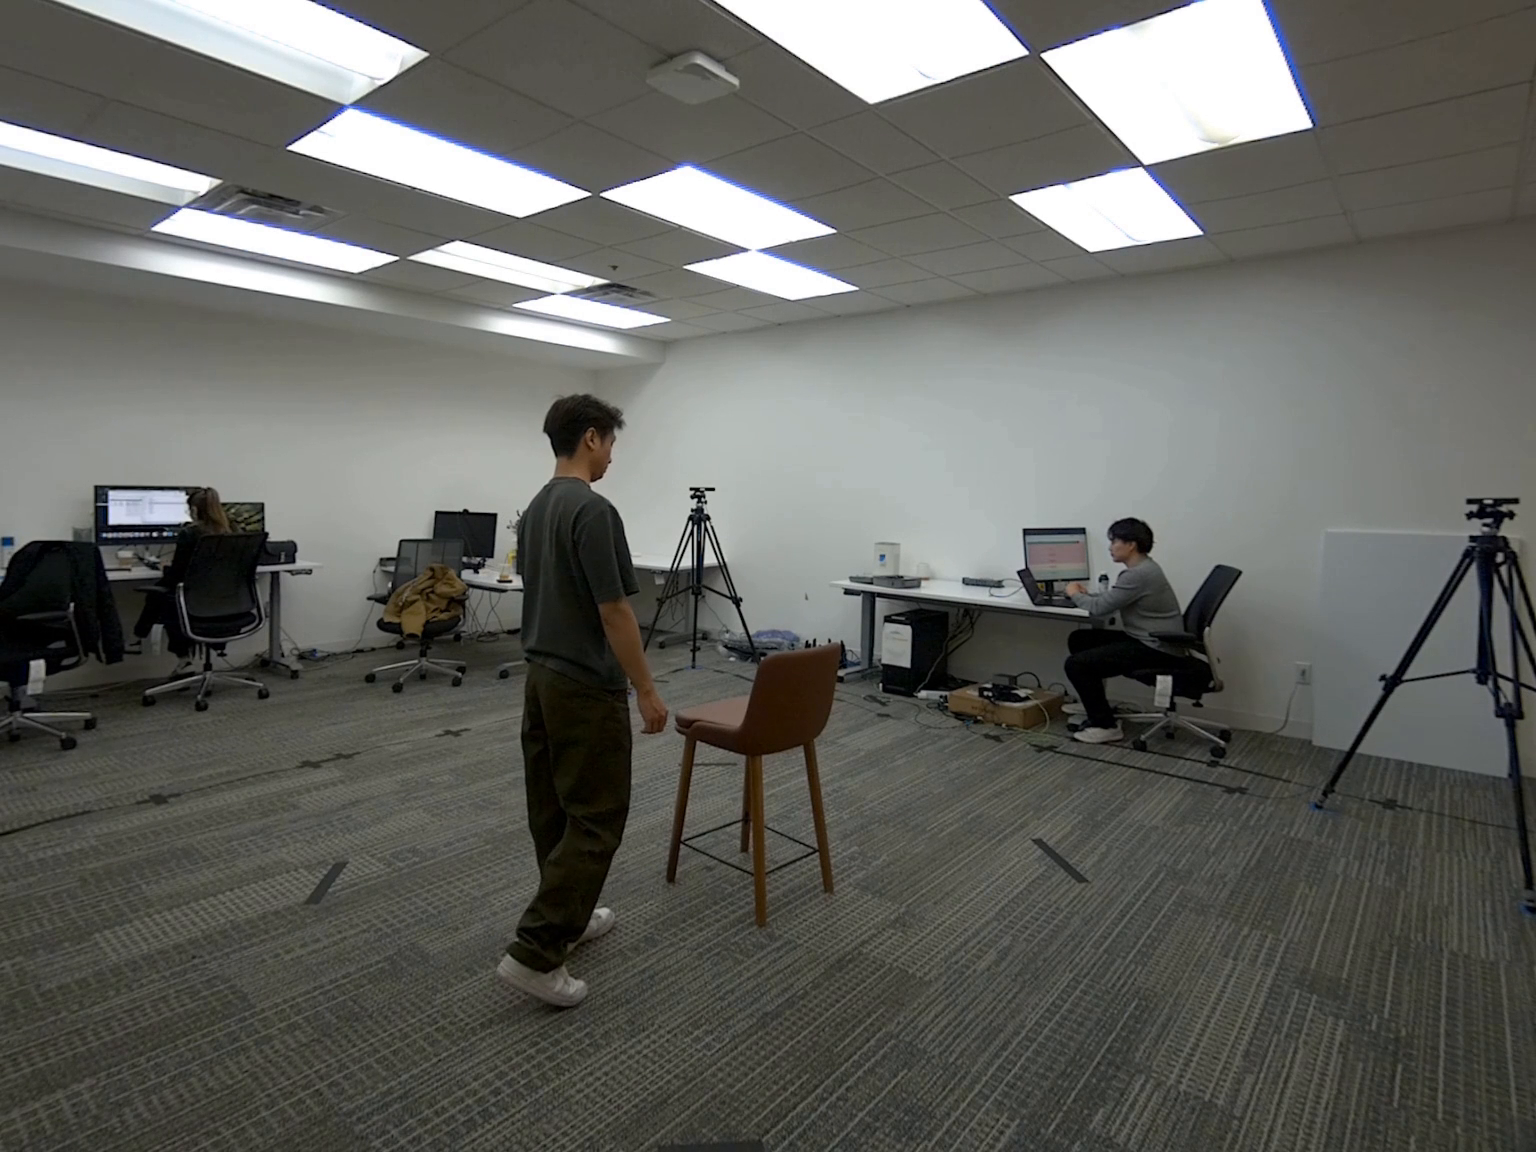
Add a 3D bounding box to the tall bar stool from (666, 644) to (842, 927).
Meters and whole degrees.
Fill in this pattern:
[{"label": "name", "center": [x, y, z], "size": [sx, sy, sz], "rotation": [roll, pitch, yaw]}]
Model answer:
[{"label": "tall bar stool", "center": [-0.054, 0.648, 2.961], "size": [0.484, 0.886, 0.442], "rotation": [7, 6, 43]}]
